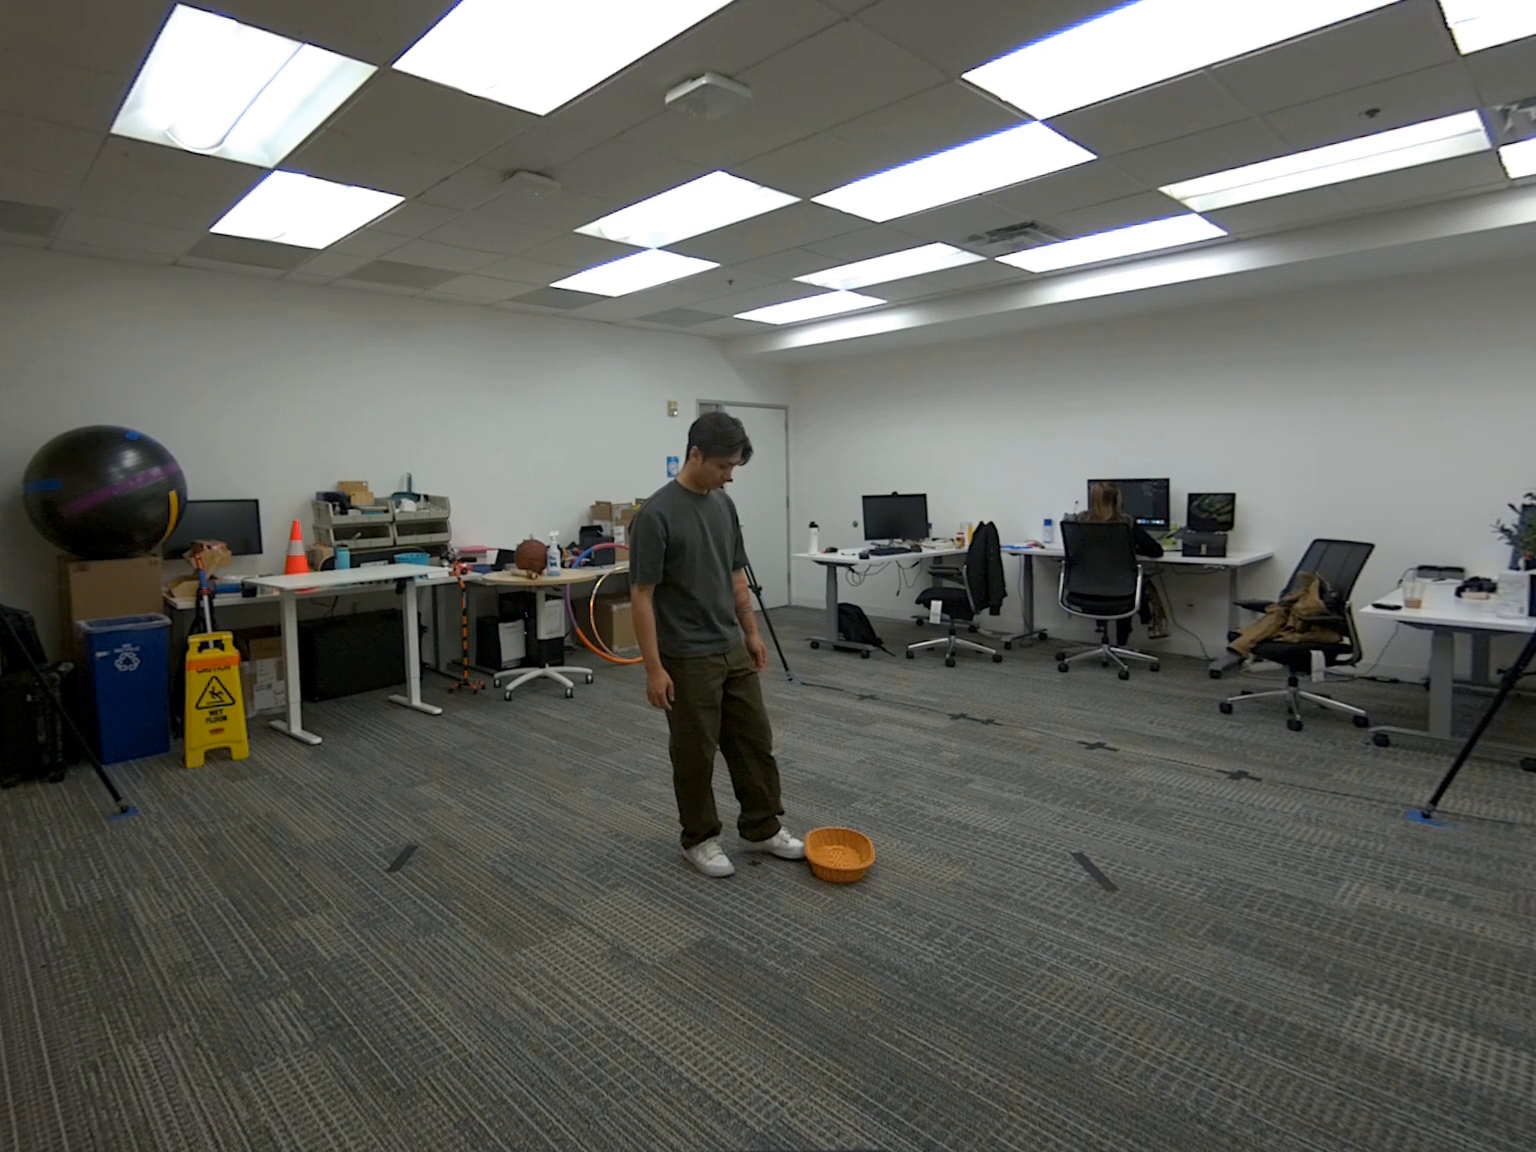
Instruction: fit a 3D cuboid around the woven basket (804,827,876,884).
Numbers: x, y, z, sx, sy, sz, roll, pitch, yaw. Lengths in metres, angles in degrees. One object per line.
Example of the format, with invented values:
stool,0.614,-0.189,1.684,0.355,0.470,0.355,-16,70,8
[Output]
woven basket,0.256,0.996,3.069,0.254,0.073,0.350,2,6,5
